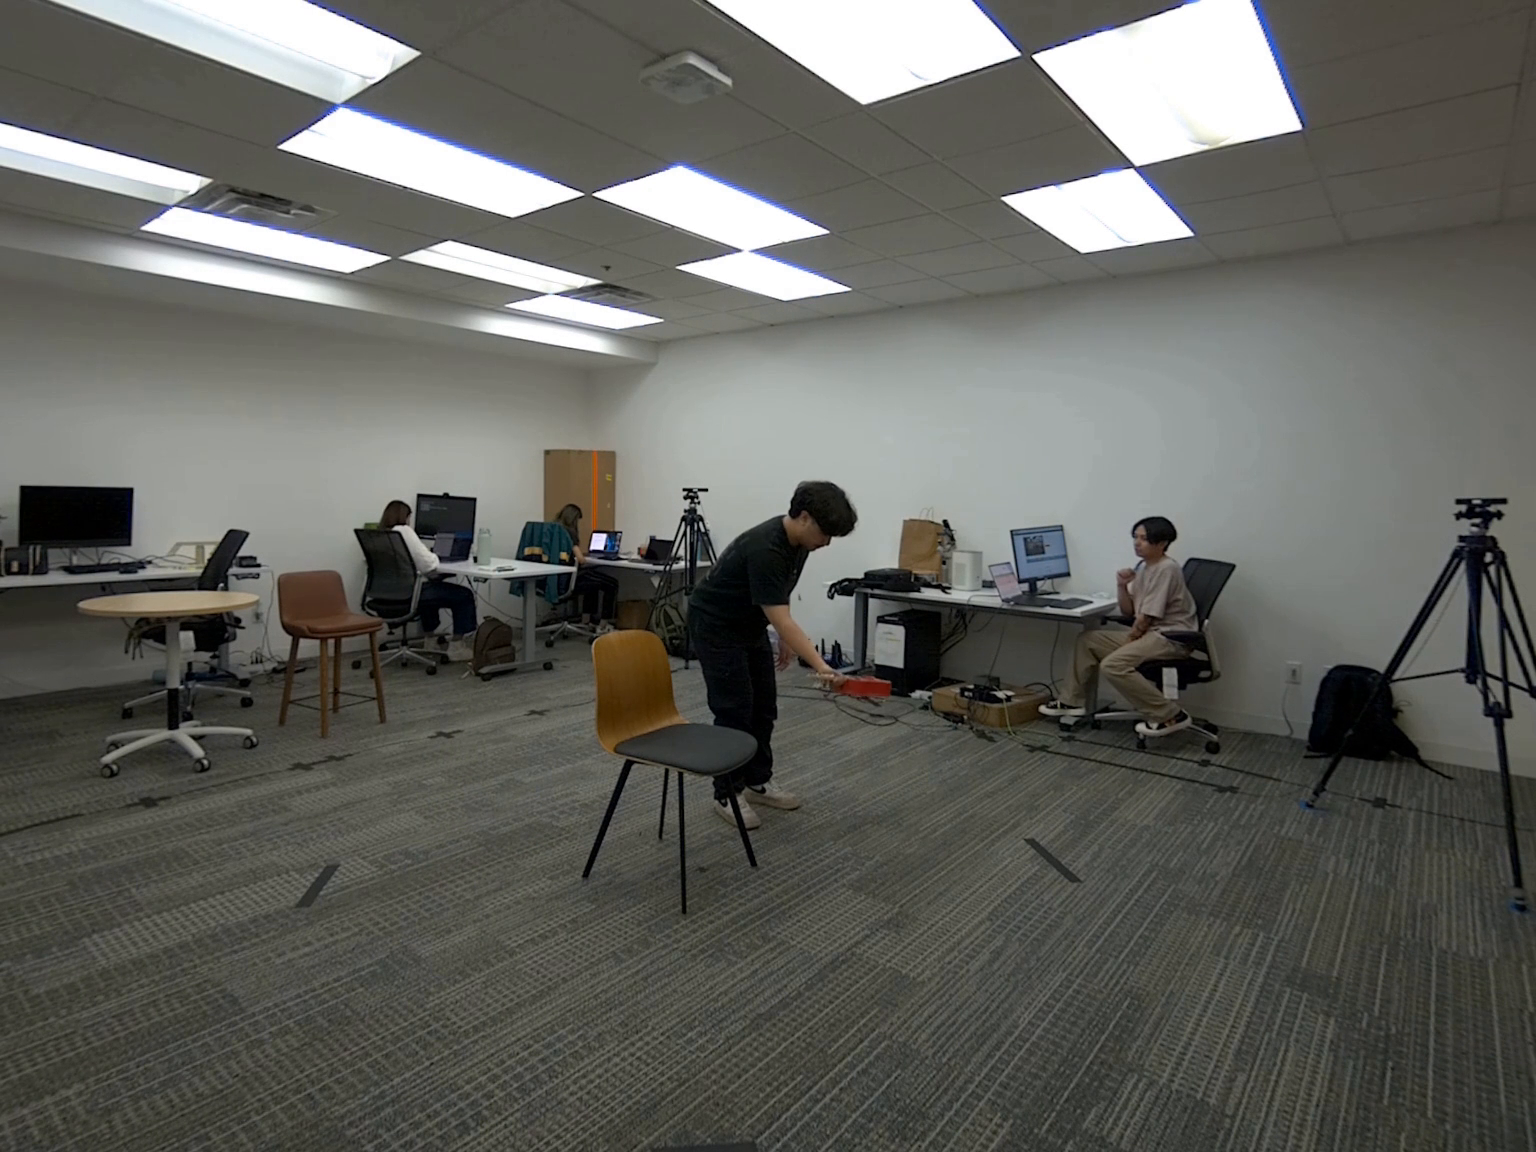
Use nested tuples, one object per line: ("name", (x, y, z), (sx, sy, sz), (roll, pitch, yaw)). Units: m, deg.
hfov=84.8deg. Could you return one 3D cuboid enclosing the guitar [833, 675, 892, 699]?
("guitar", (0.268, 0.408, 3.297), (0.480, 0.071, 0.199), (9, -2, -43))
